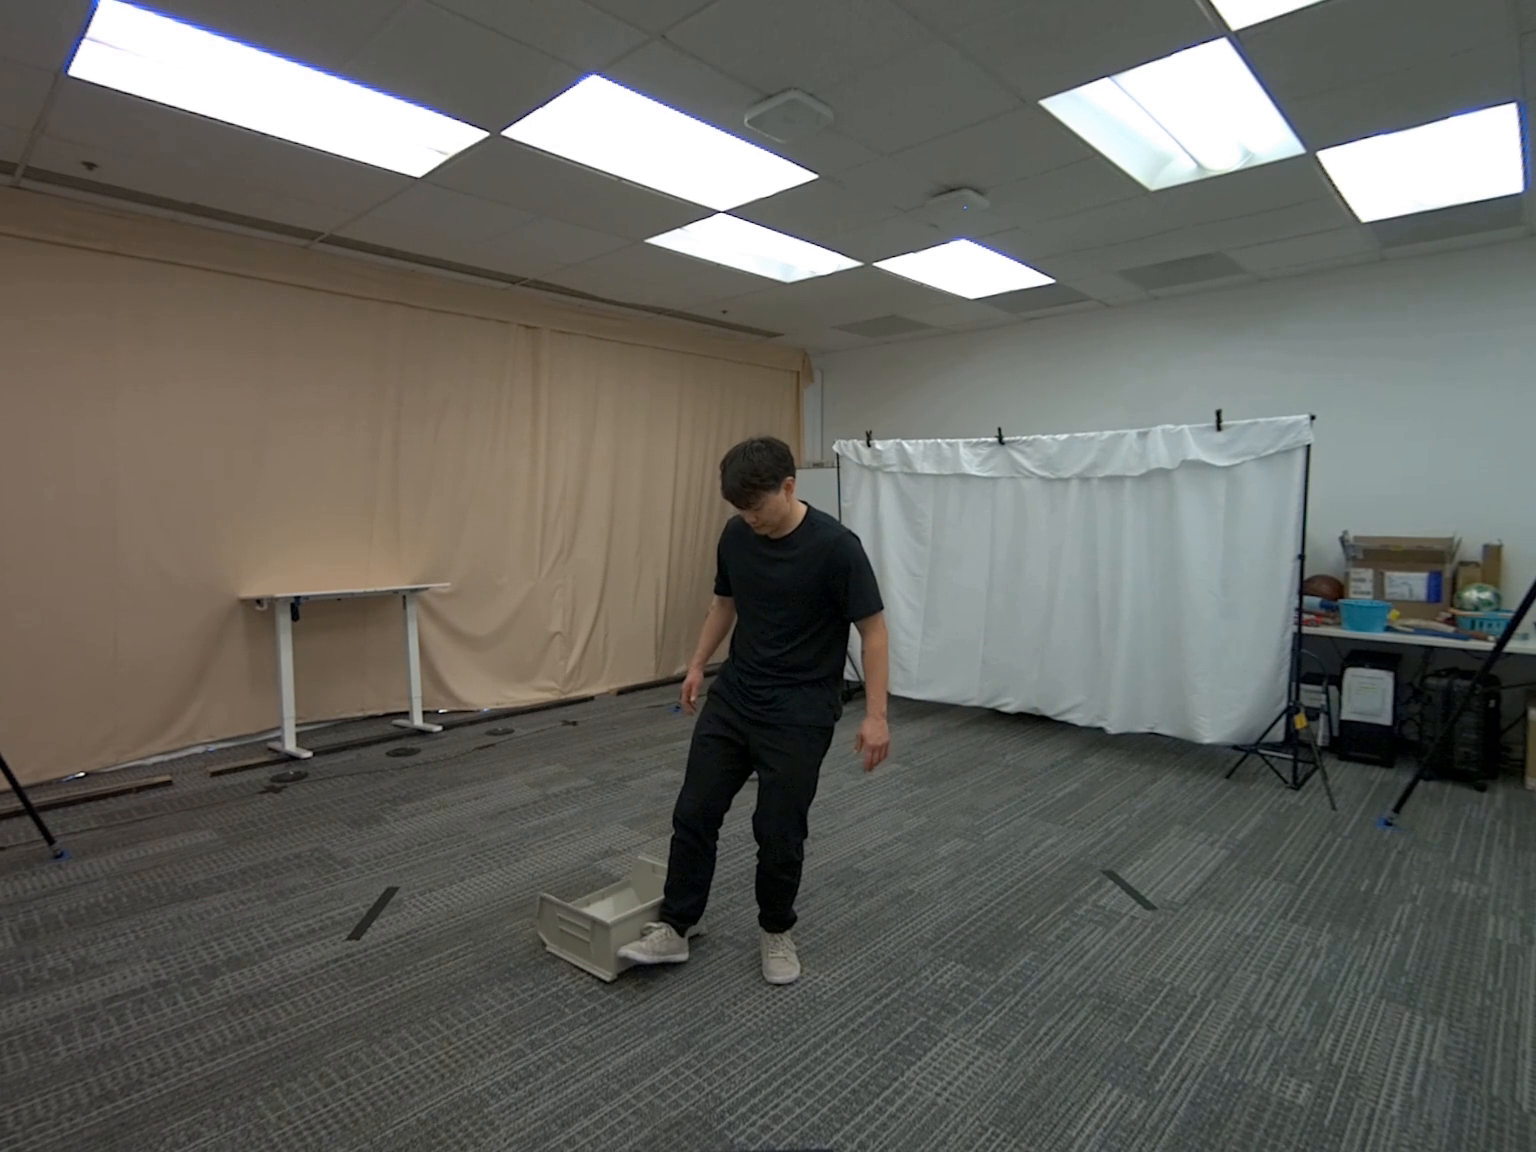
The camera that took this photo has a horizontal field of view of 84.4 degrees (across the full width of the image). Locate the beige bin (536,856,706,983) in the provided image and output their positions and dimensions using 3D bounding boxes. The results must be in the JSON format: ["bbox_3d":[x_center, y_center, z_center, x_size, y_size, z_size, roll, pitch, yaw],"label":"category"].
[{"bbox_3d":[-0.467,1.079,2.706,0.390,0.189,0.409,2,4,41],"label":"beige bin"}]
